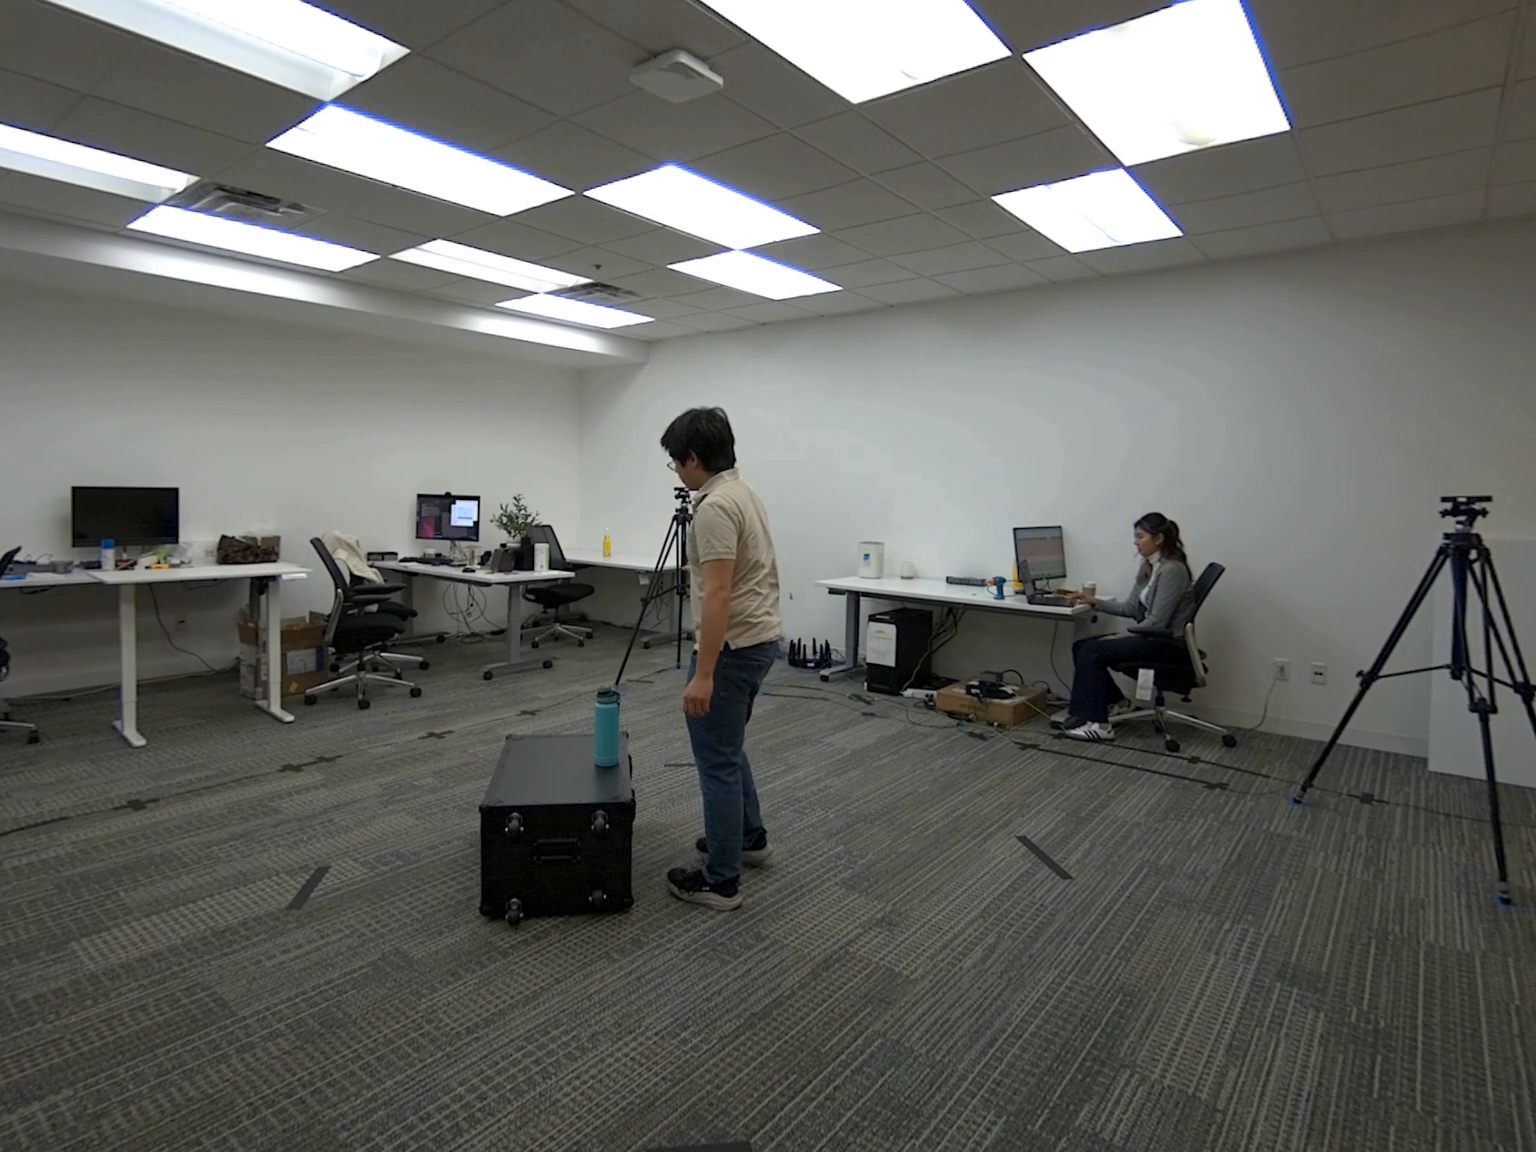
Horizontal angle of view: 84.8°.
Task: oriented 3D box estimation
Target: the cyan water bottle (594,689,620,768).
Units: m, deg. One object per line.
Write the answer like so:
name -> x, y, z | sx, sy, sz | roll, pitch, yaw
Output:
cyan water bottle -> -0.604, 0.543, 3.129 | 0.092, 0.283, 0.092 | 2, 2, -2
